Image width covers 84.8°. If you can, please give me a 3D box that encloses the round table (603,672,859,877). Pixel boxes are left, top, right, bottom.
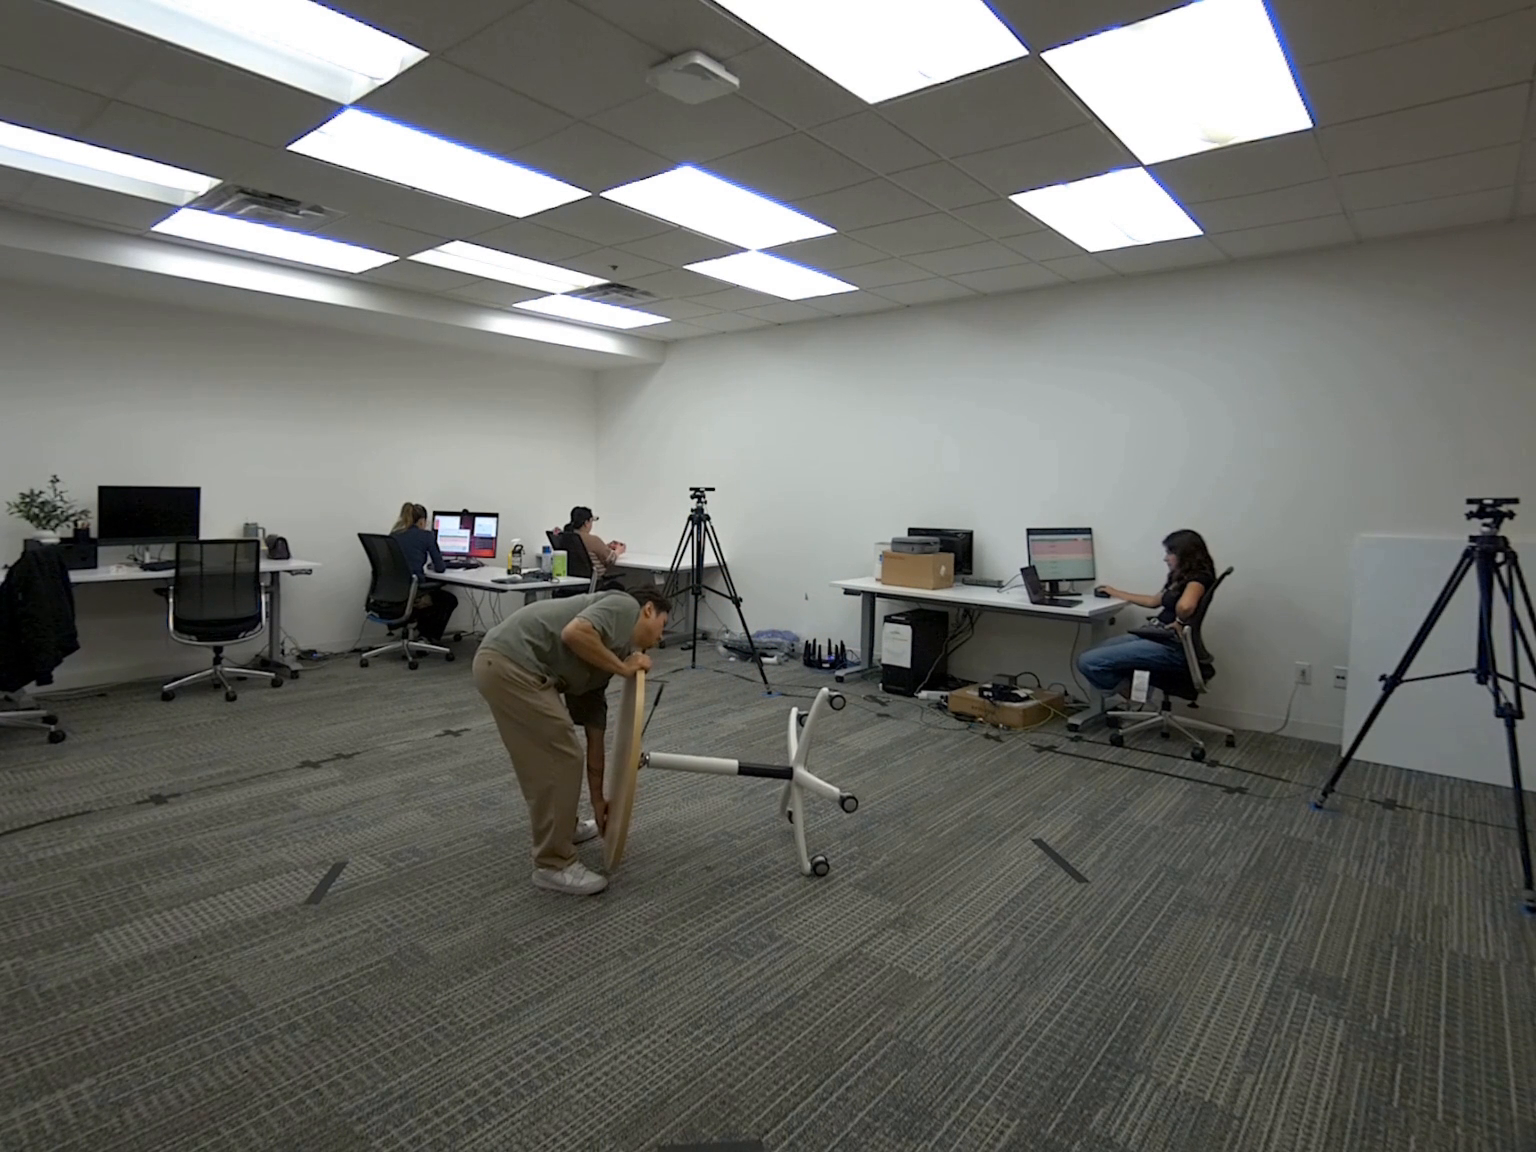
[{"bbox_3d":[-0.166,0.698,3.155,0.776,0.784,0.798,7,3,-13],"label":"round table"}]
